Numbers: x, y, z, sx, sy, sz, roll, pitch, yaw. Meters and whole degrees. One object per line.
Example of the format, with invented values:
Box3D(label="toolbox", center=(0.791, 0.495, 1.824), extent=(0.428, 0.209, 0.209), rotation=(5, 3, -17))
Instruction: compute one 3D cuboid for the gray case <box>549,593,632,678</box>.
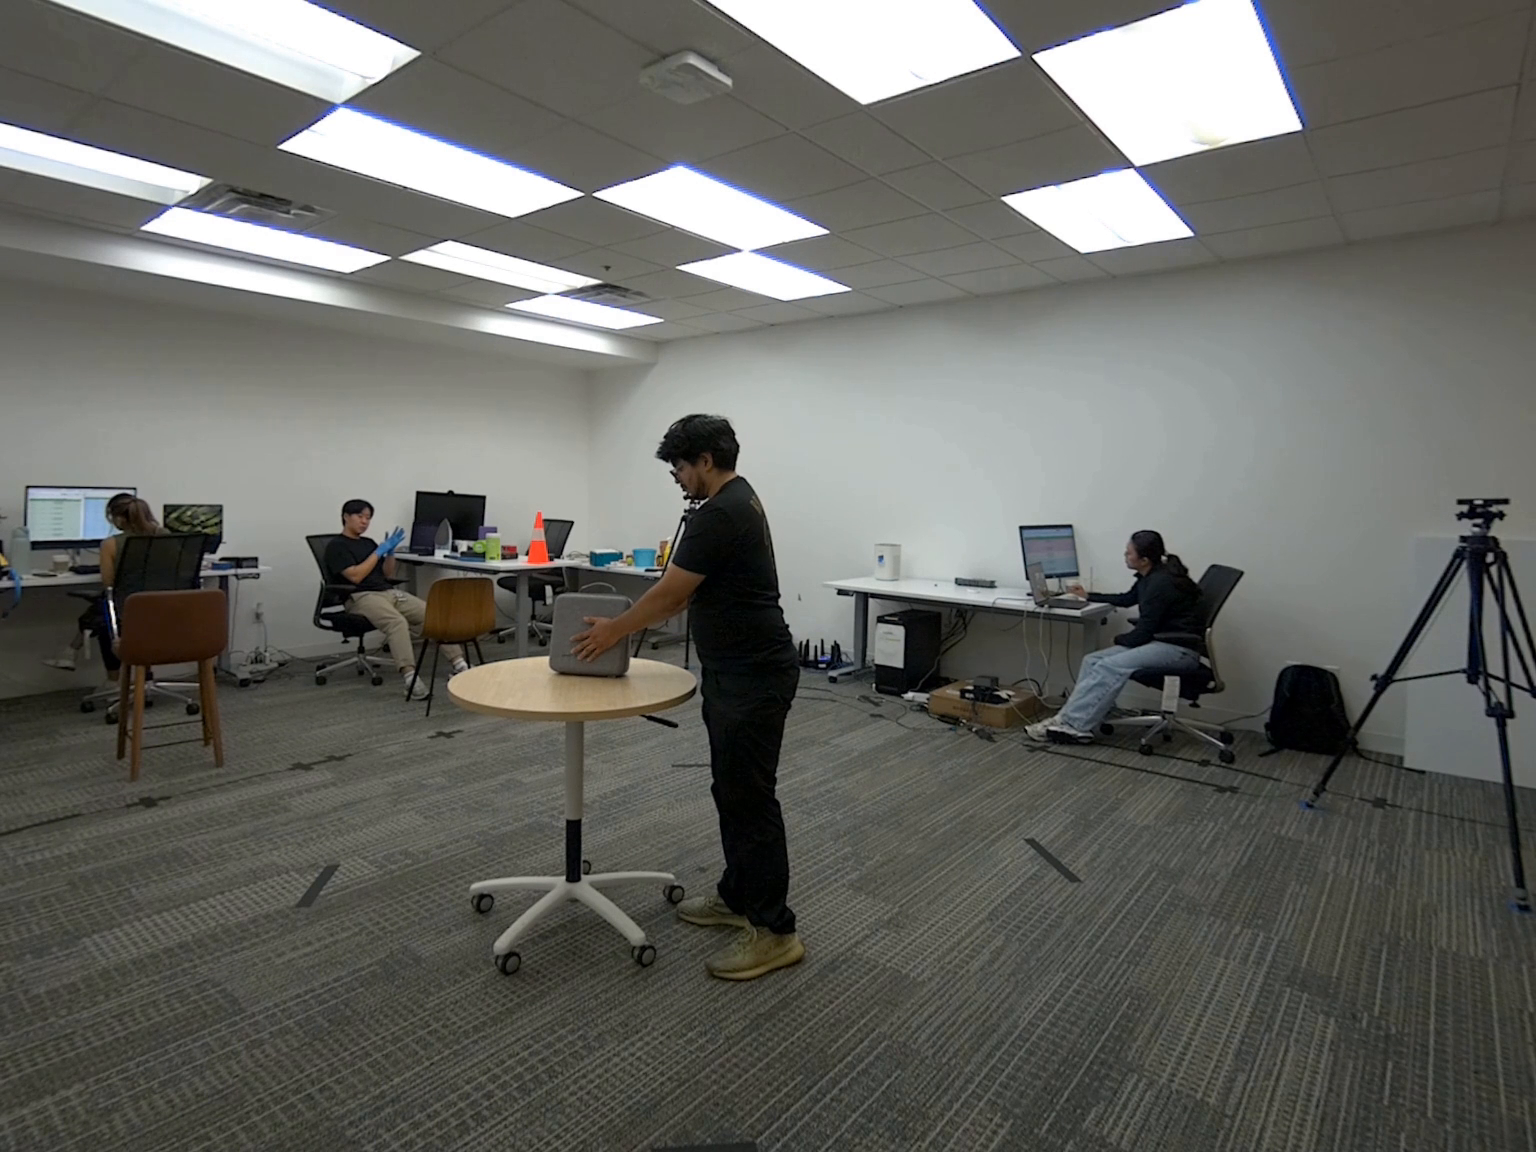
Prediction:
Box3D(label="gray case", center=(-0.590, 0.181, 2.771), extent=(0.260, 0.262, 0.102), rotation=(3, -6, 9))
